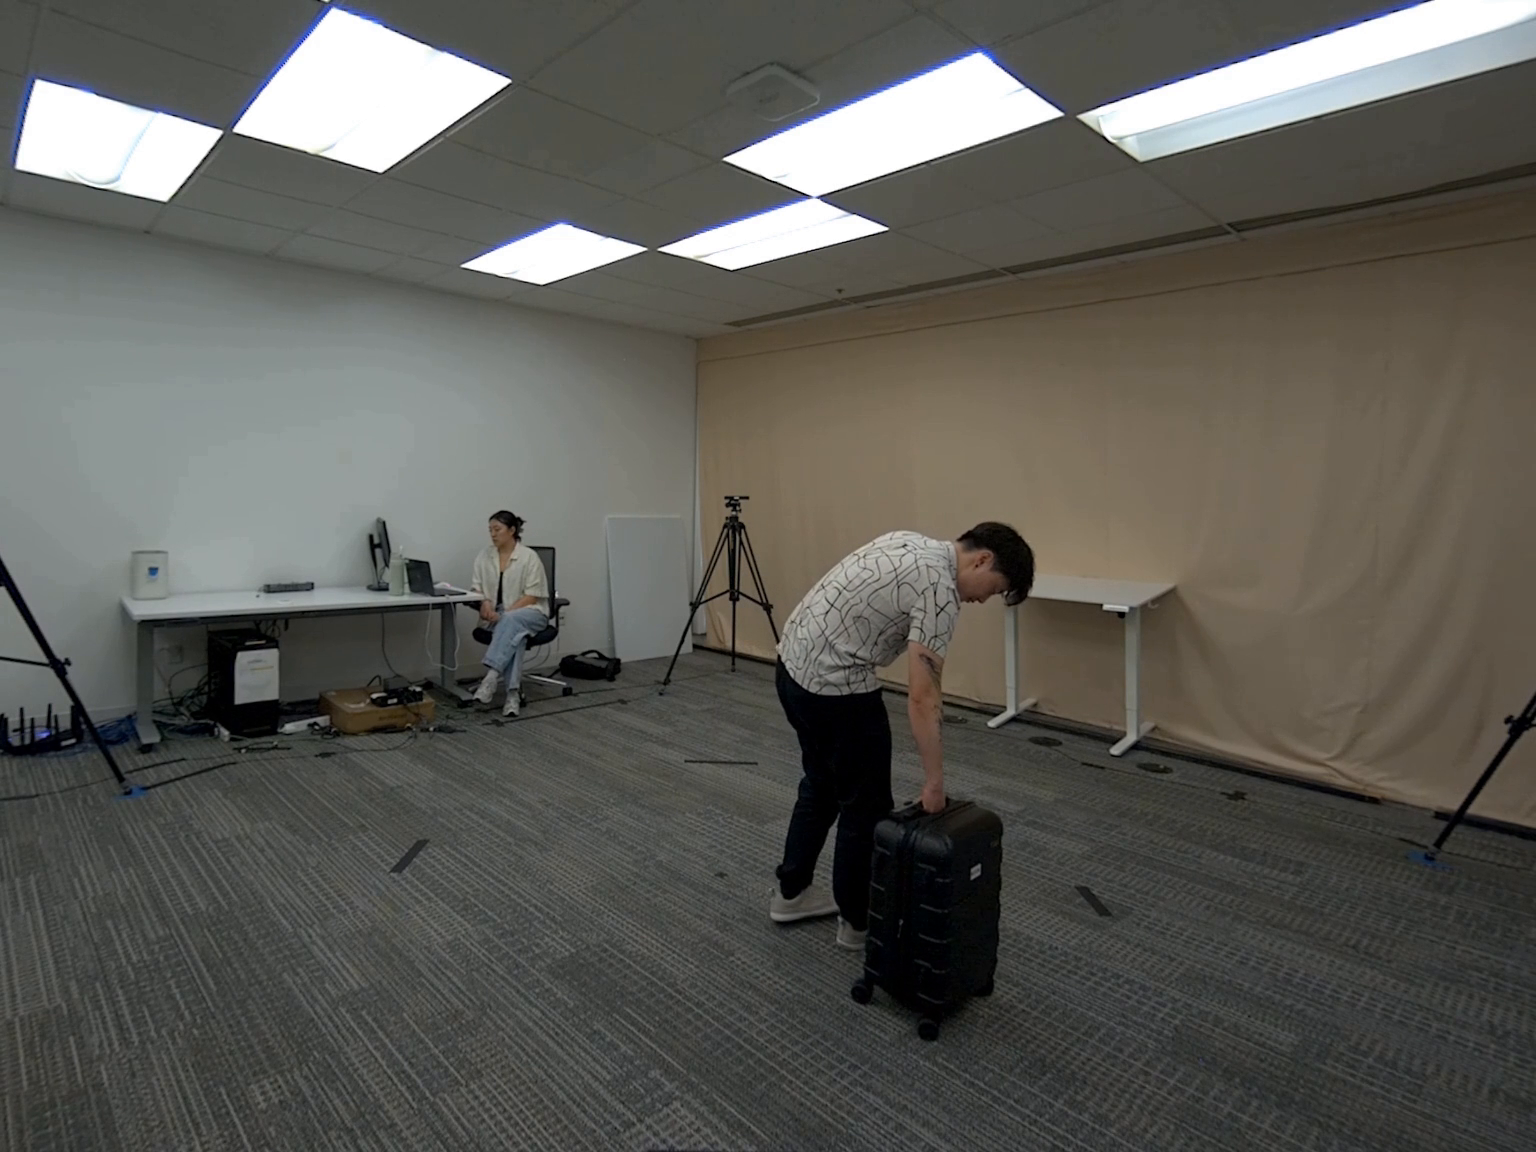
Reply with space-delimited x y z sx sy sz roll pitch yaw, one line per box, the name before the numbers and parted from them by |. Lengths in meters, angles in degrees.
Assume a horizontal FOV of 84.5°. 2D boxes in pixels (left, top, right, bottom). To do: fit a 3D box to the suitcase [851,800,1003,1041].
suitcase | 0.466 0.914 2.351 0.255 0.548 0.367 7 6 44
